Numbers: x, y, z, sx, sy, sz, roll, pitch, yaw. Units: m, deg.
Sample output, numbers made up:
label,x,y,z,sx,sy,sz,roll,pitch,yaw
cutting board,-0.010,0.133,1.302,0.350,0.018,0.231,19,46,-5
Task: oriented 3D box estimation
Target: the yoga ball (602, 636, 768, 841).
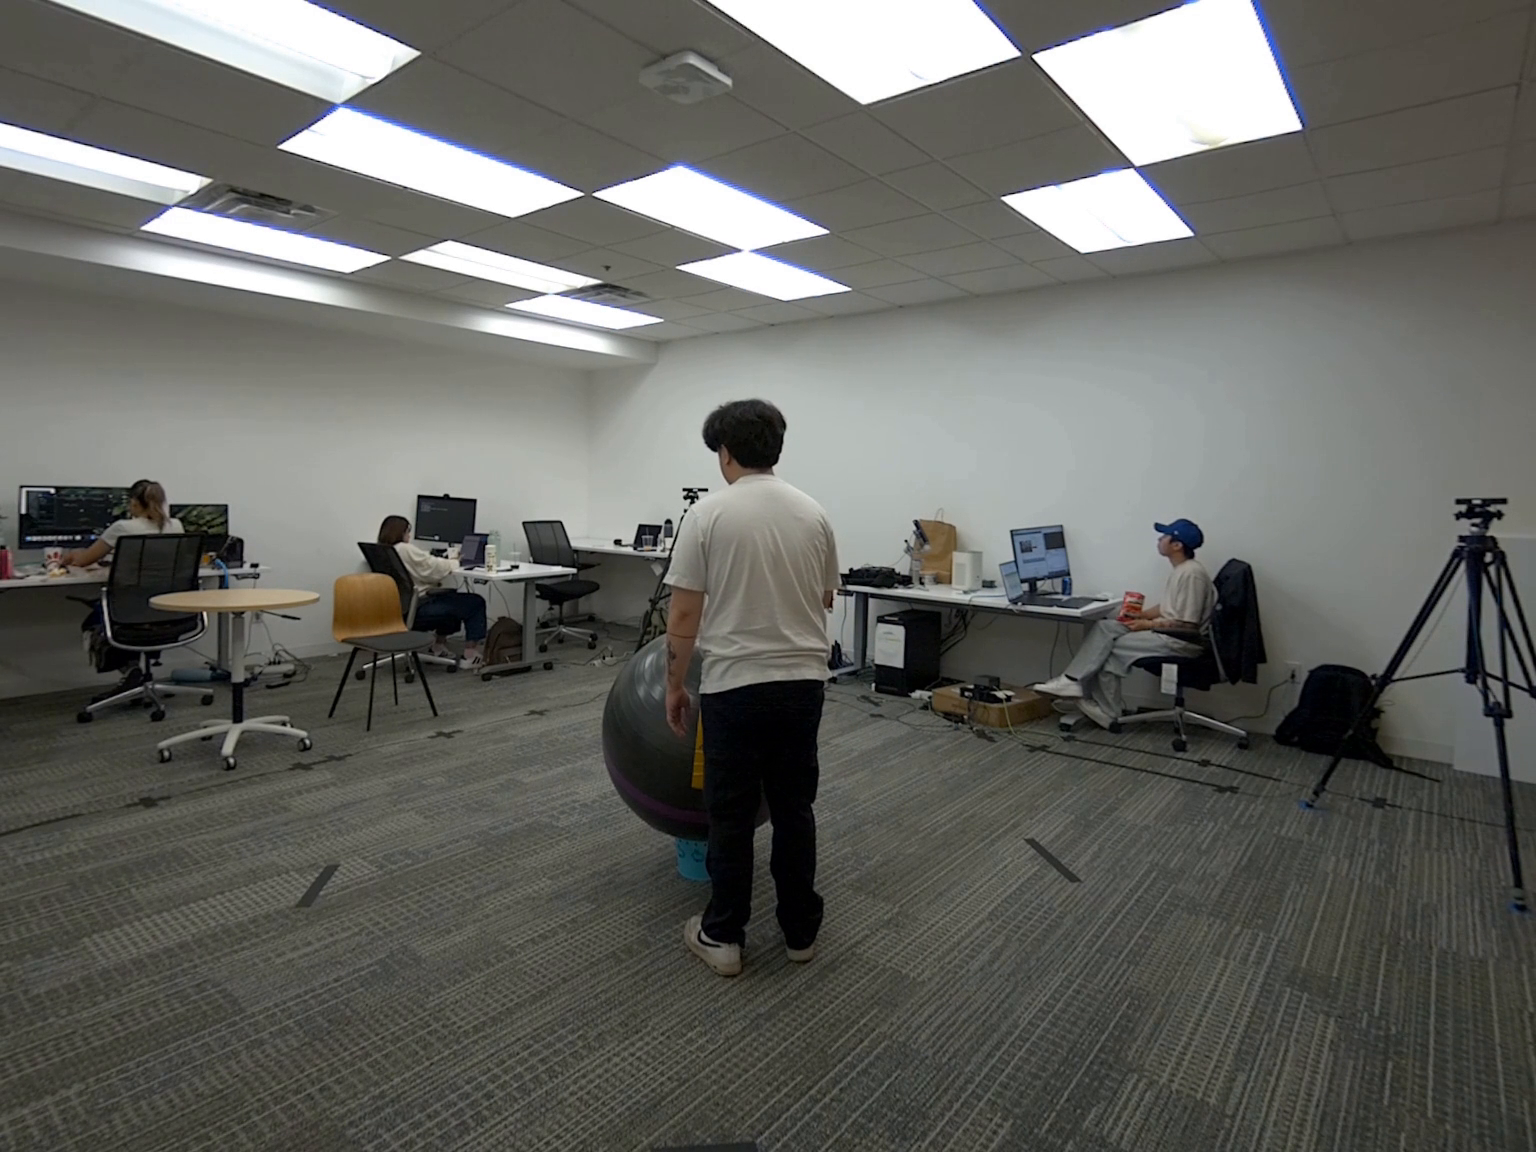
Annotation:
label,x,y,z,sx,sy,sz,roll,pitch,yaw
yoga ball,-0.228,0.562,3.090,0.757,0.756,0.761,1,4,-2
